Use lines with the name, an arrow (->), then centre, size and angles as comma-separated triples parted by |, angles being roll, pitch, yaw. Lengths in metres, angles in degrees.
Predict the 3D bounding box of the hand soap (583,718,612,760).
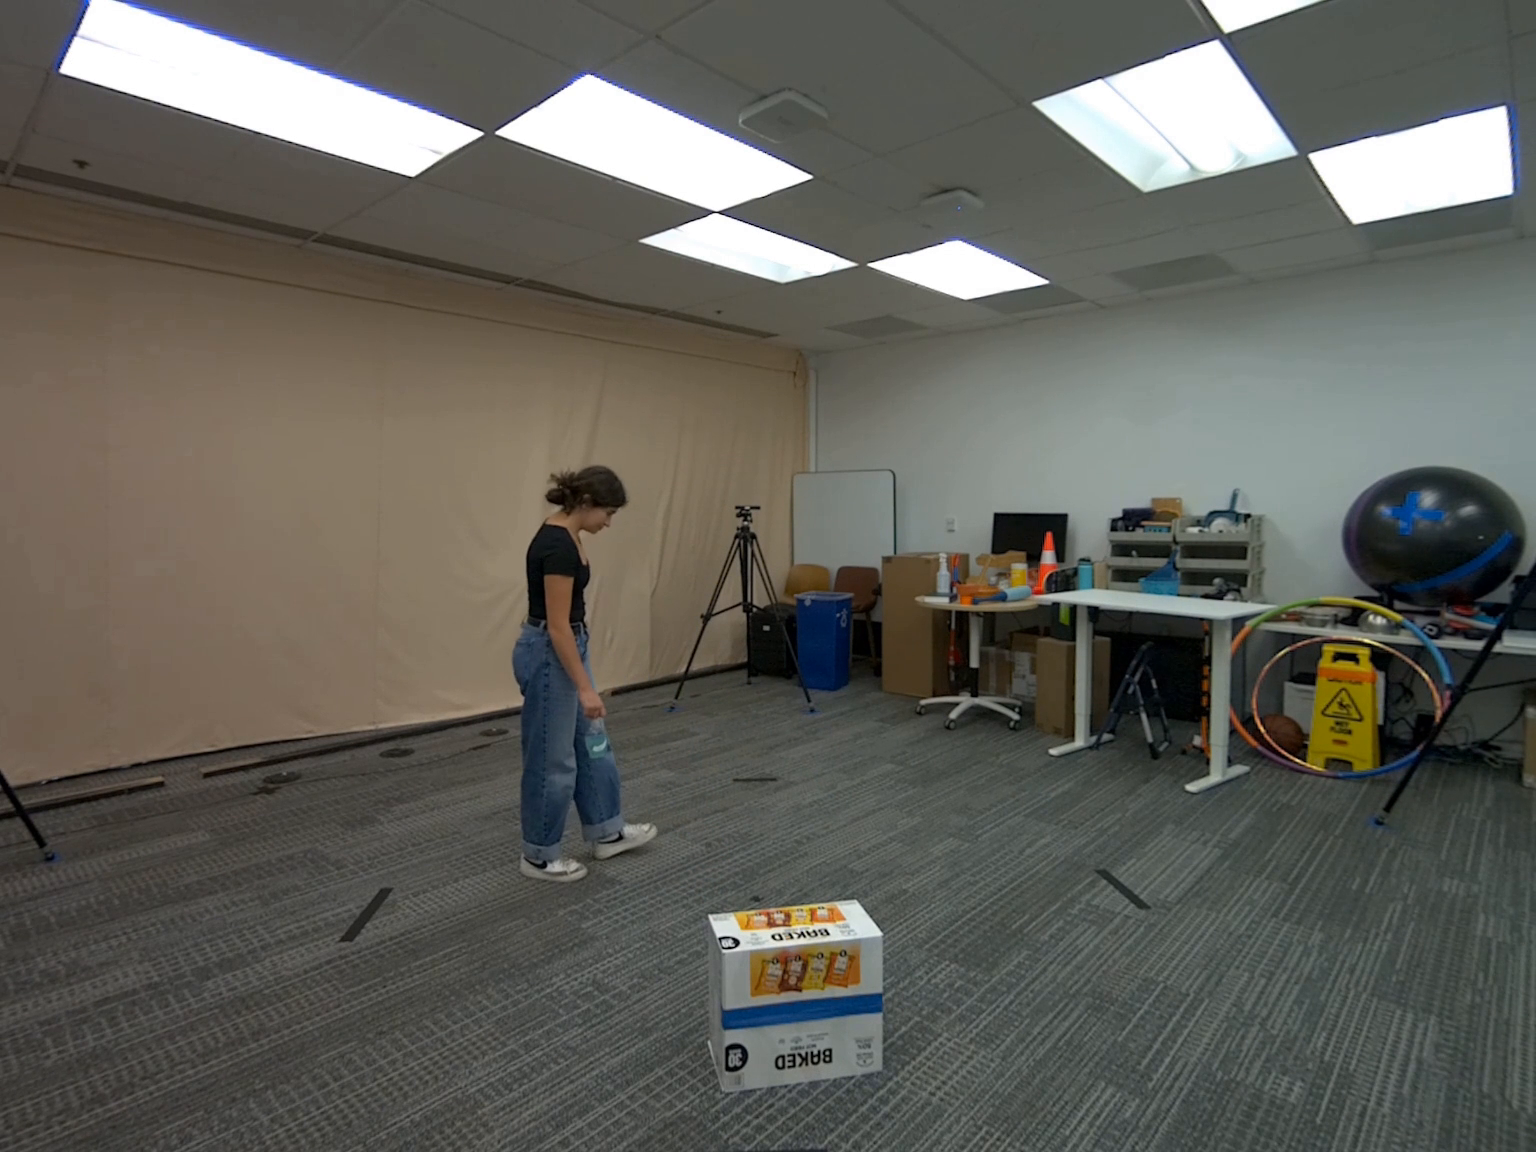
hand soap -> -0.600, 0.587, 3.023 | 0.043, 0.167, 0.085 | -6, 5, -4
